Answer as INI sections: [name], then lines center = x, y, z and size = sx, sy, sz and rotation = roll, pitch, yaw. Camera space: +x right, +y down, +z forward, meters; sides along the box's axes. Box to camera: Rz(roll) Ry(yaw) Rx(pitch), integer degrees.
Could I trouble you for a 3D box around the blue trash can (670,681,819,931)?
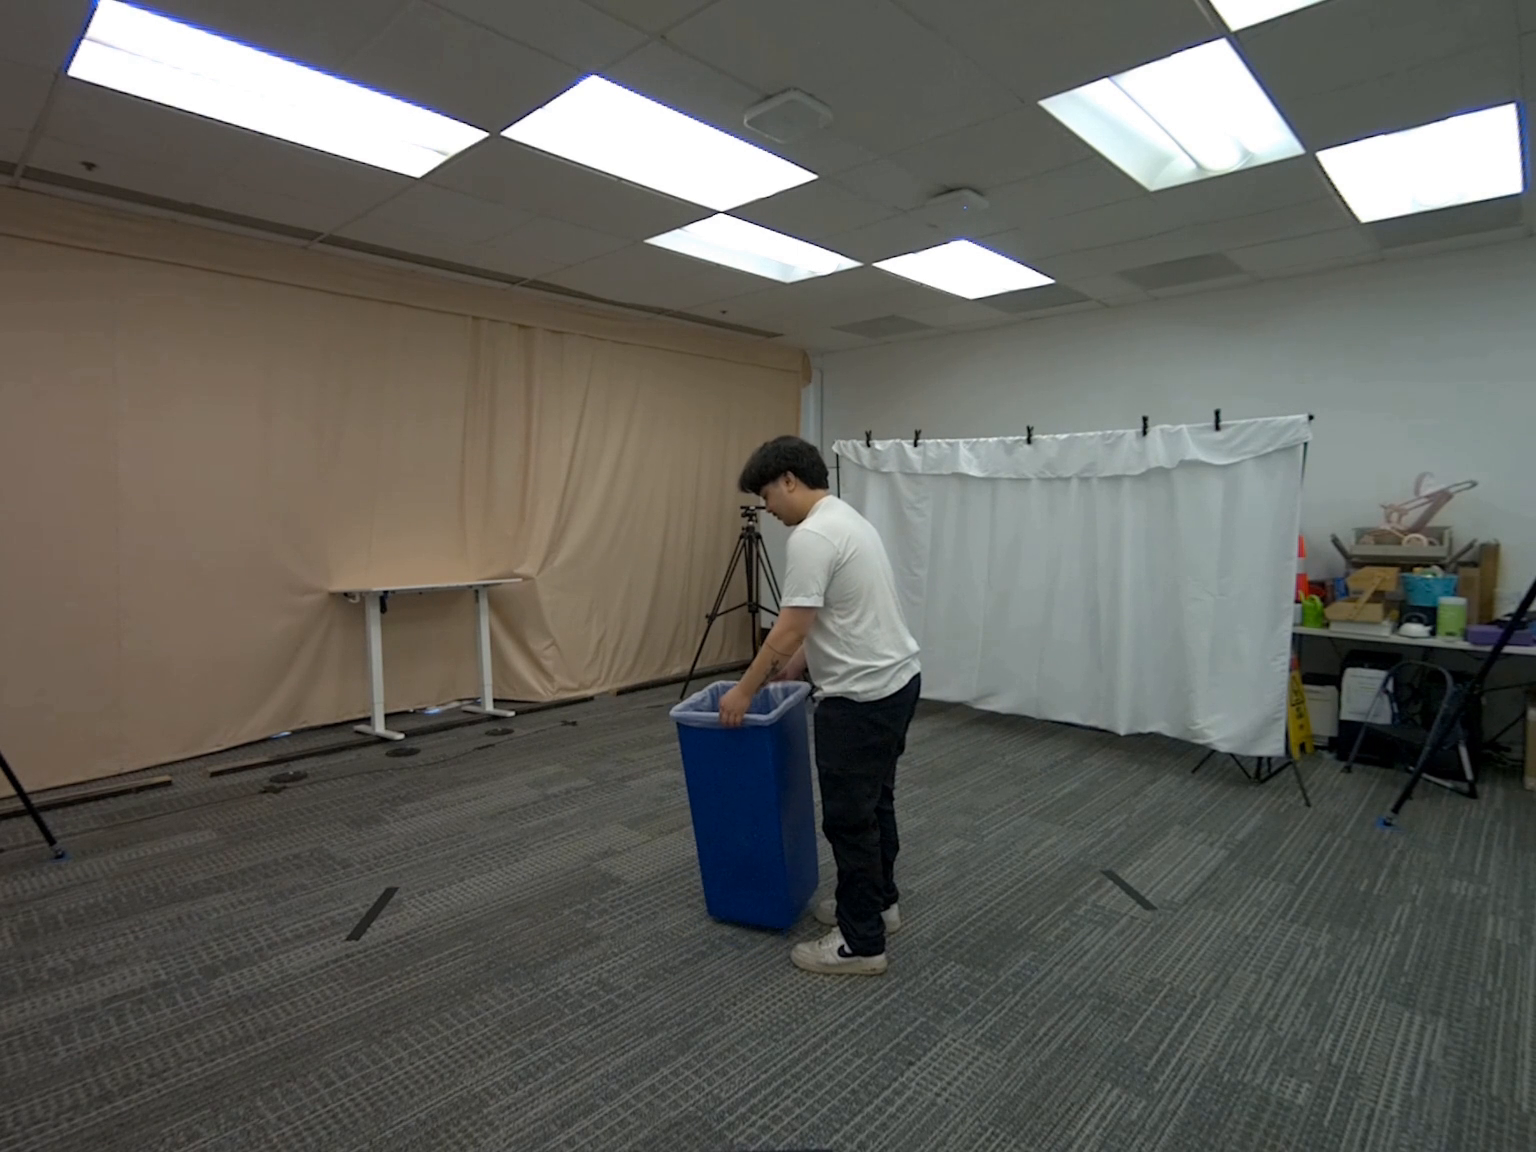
[blue trash can]
center = -0.047, 0.757, 2.836
size = 0.387, 0.710, 0.367
rotation = -3, 7, 26
